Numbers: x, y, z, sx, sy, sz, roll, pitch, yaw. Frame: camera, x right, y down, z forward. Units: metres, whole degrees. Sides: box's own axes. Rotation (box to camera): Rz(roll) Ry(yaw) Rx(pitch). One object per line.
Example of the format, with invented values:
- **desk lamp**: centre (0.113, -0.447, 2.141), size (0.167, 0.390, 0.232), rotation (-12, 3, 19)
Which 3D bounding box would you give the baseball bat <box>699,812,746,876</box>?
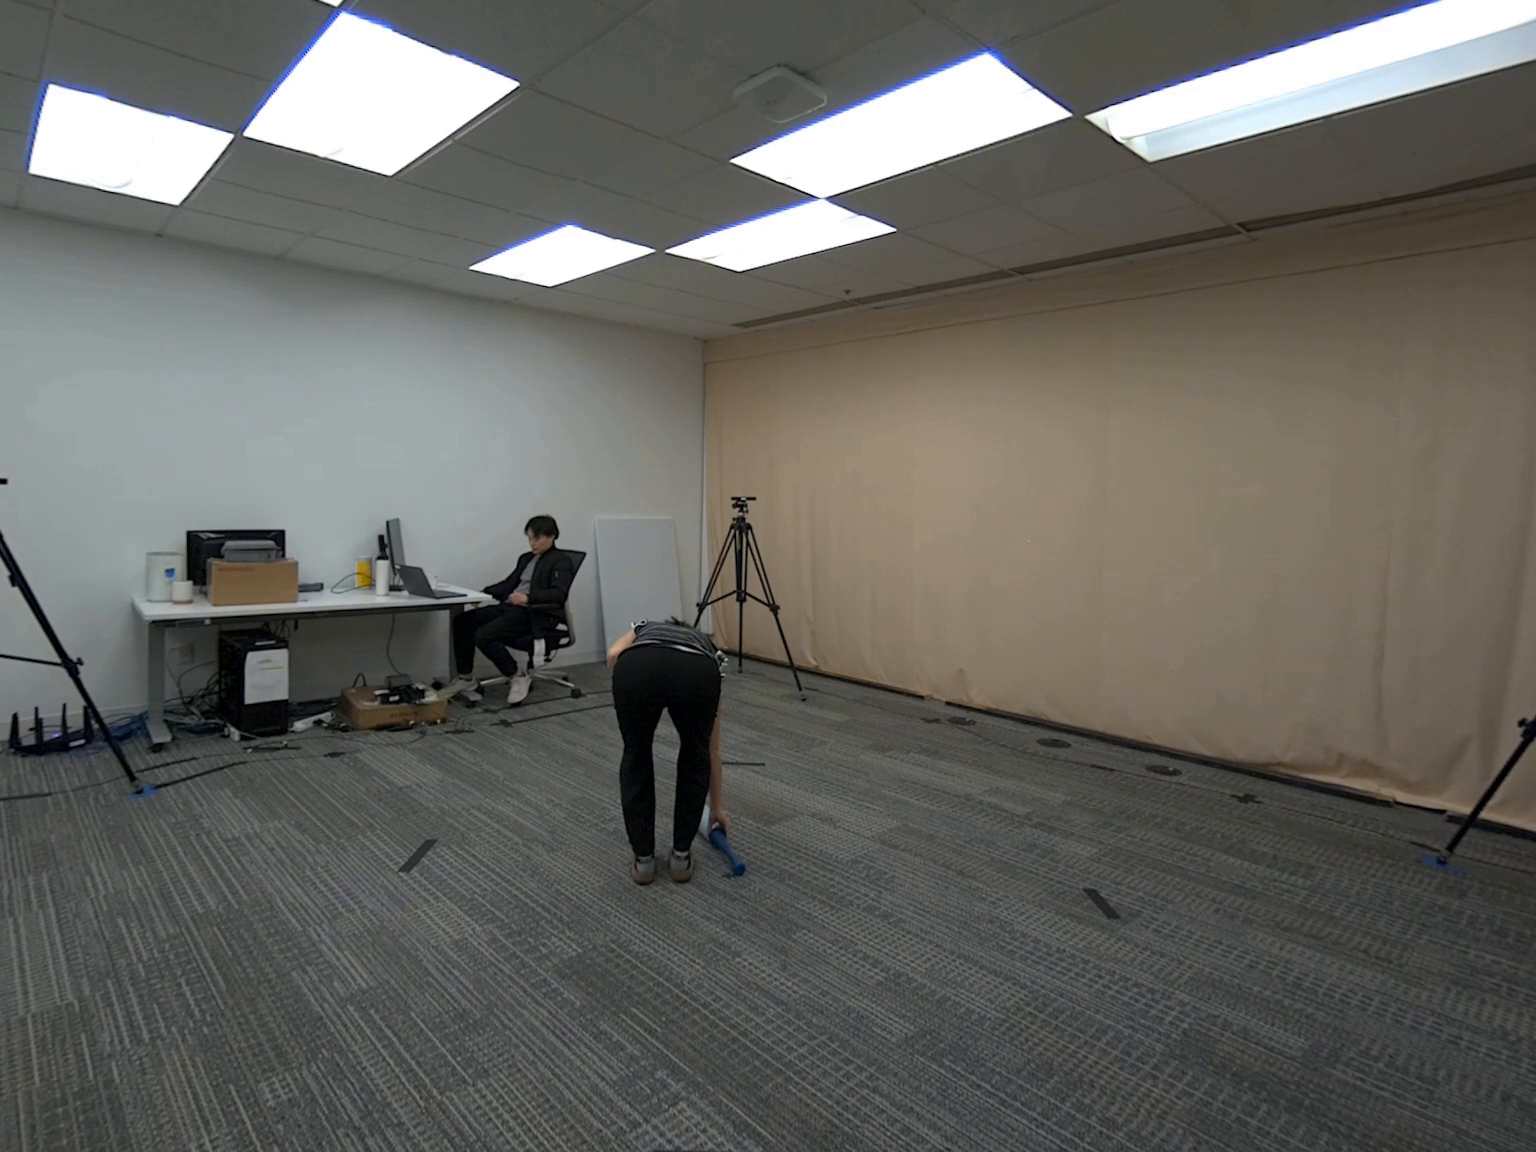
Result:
- **baseball bat**: centre (-0.203, 1.048, 3.356), size (0.088, 0.088, 0.554), rotation (0, 8, -21)
